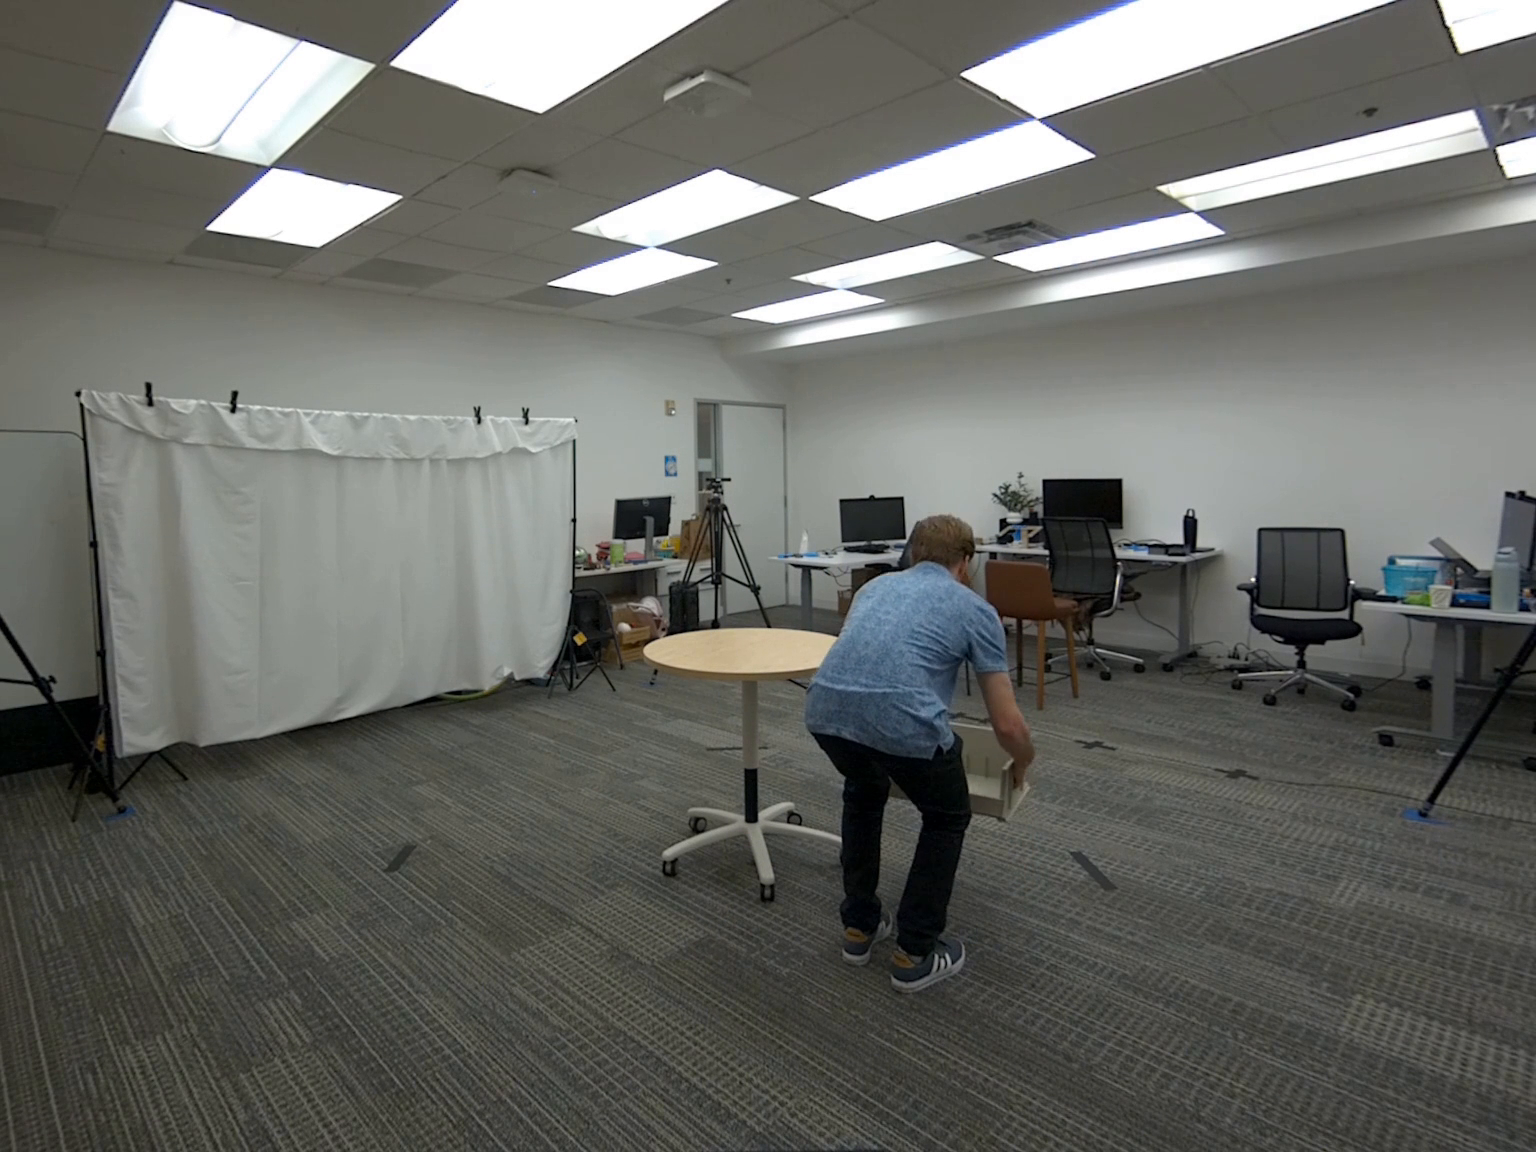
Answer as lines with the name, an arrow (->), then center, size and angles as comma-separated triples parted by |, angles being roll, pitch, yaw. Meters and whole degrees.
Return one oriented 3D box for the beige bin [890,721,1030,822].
beige bin -> 0.609, 0.627, 2.785 | 0.434, 0.188, 0.369 | 2, 6, 31
